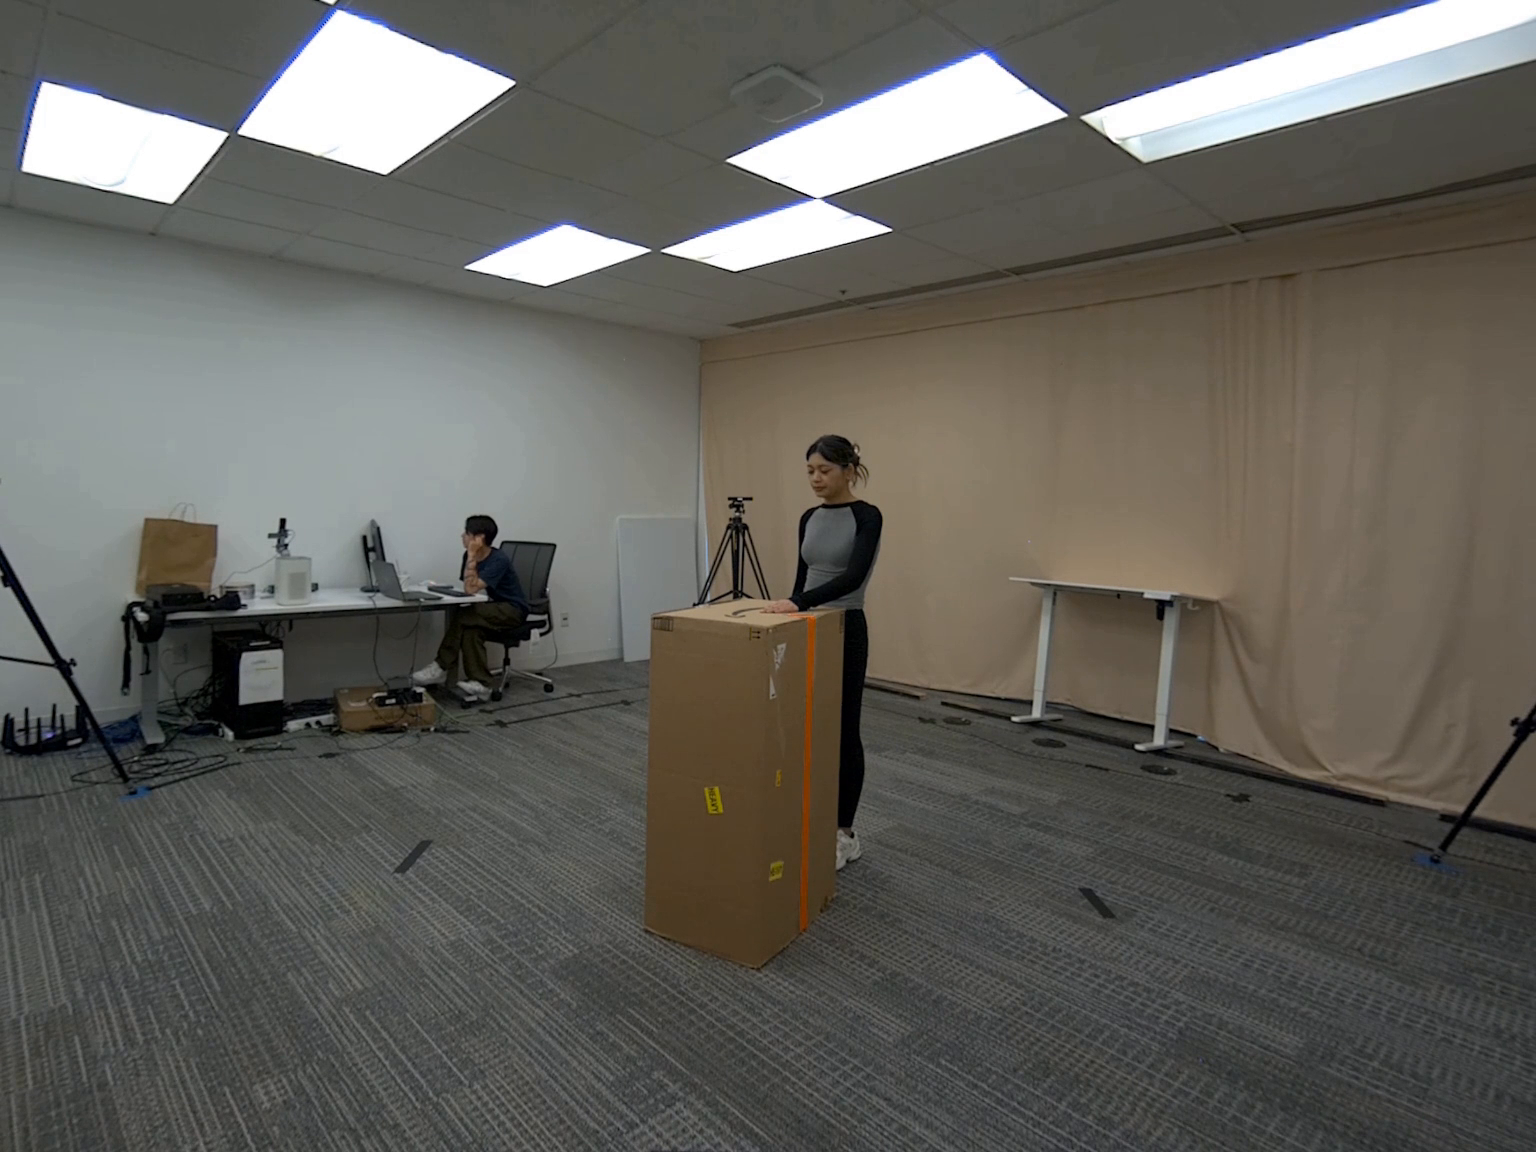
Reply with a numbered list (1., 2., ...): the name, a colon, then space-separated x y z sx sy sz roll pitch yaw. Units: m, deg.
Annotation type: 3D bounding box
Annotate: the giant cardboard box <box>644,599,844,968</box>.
1. giant cardboard box: -0.070 0.631 2.803 0.456 1.025 0.573 2 3 28
